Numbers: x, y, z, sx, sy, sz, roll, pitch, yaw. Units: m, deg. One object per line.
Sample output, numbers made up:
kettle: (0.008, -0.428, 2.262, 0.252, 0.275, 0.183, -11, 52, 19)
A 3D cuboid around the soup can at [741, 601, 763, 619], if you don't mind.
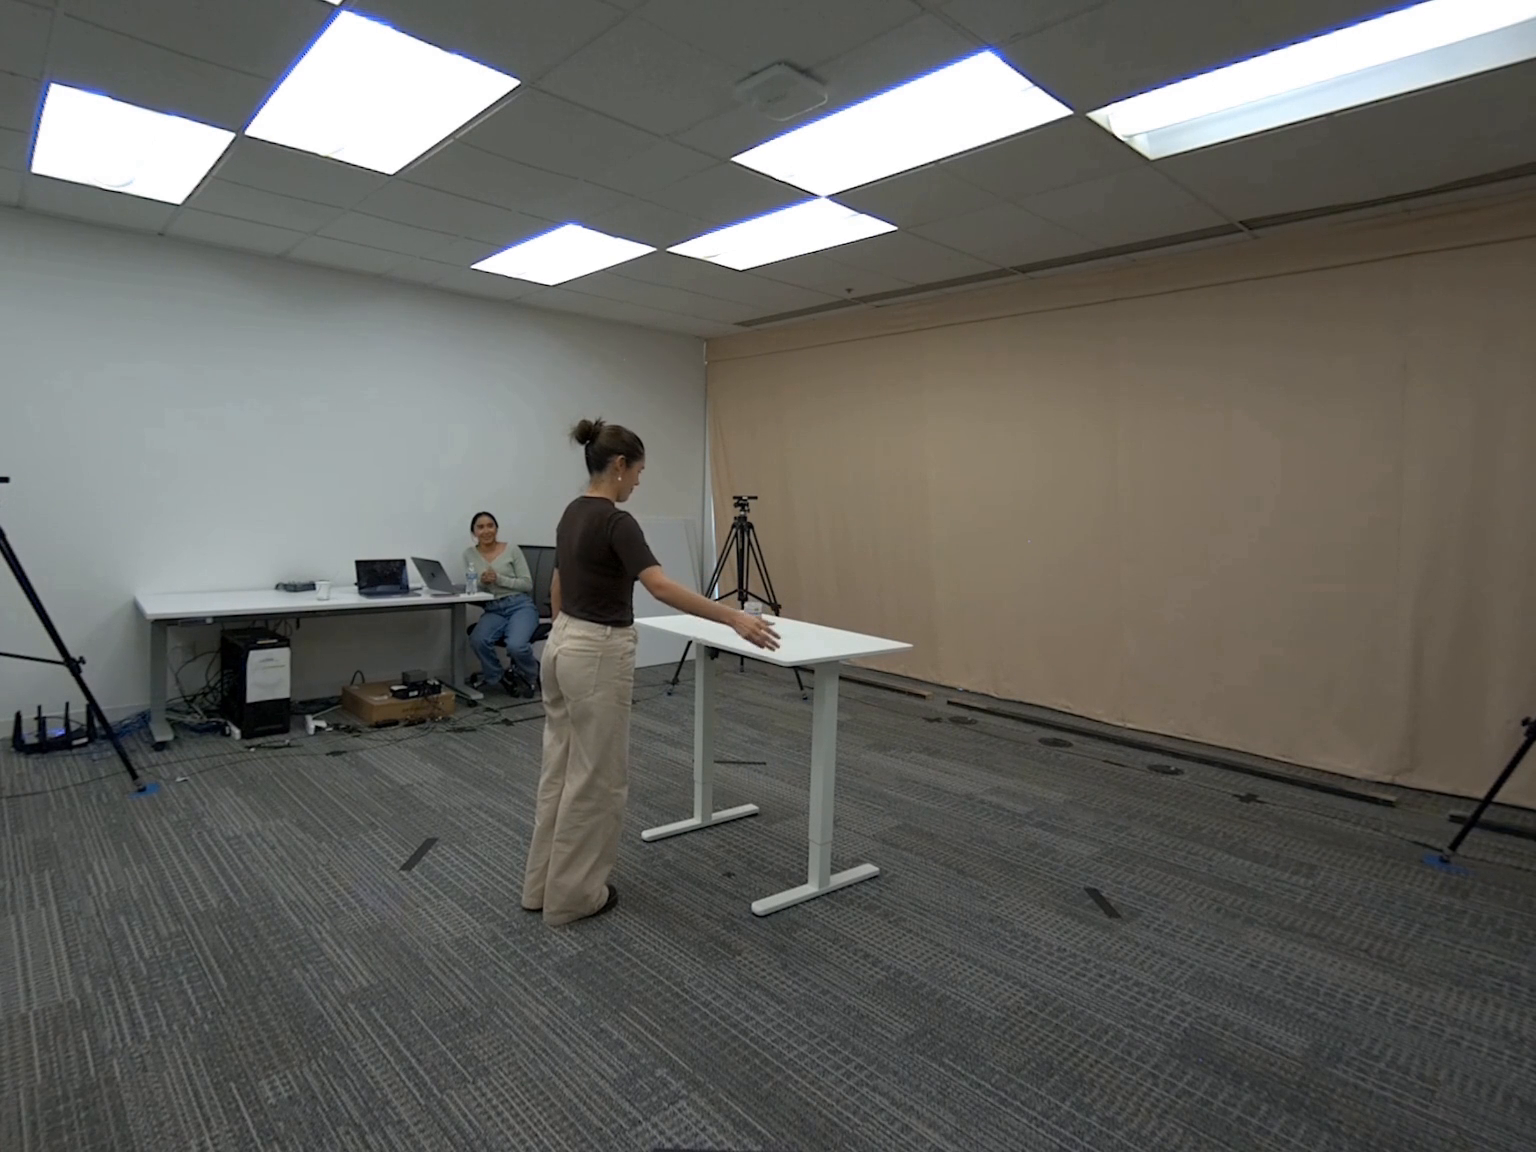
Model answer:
soup can: (-0.067, 0.160, 3.121, 0.067, 0.121, 0.067, 2, 3, -1)
